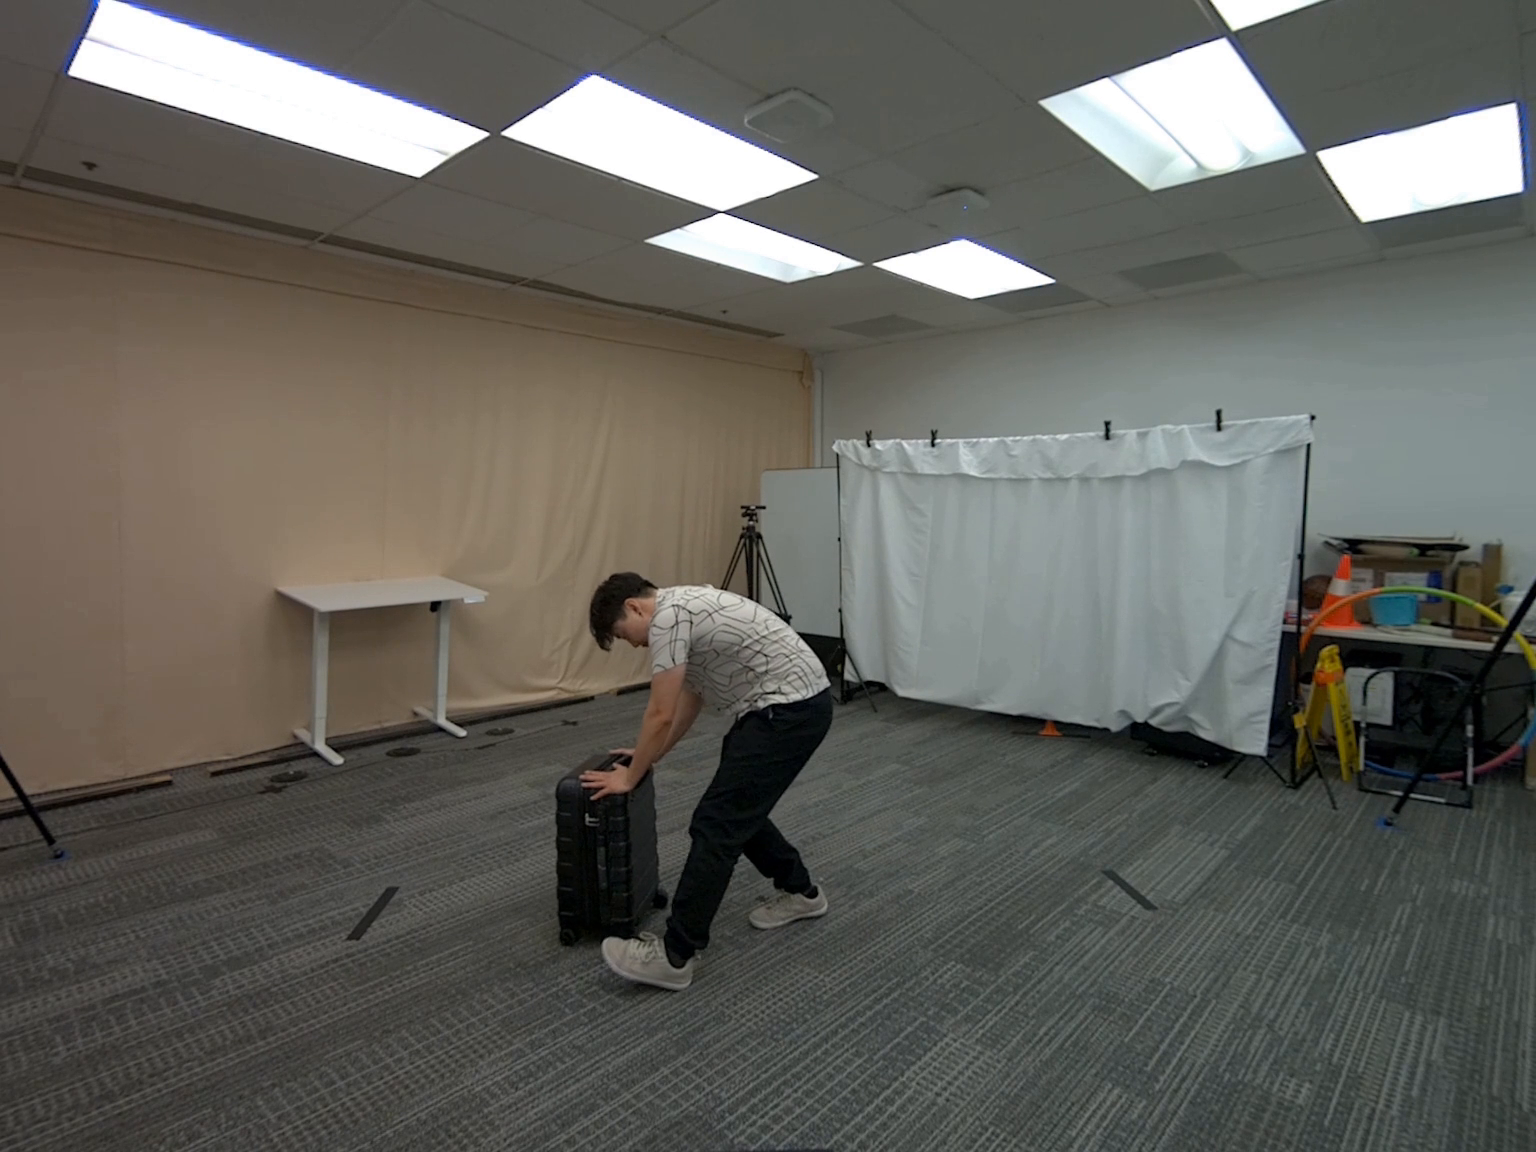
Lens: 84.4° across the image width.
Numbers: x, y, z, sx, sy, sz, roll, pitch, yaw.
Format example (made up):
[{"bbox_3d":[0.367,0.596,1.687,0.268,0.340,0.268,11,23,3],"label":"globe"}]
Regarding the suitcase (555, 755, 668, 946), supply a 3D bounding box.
[{"bbox_3d":[-0.525,0.889,2.796,0.252,0.548,0.371,-1,4,11],"label":"suitcase"}]
